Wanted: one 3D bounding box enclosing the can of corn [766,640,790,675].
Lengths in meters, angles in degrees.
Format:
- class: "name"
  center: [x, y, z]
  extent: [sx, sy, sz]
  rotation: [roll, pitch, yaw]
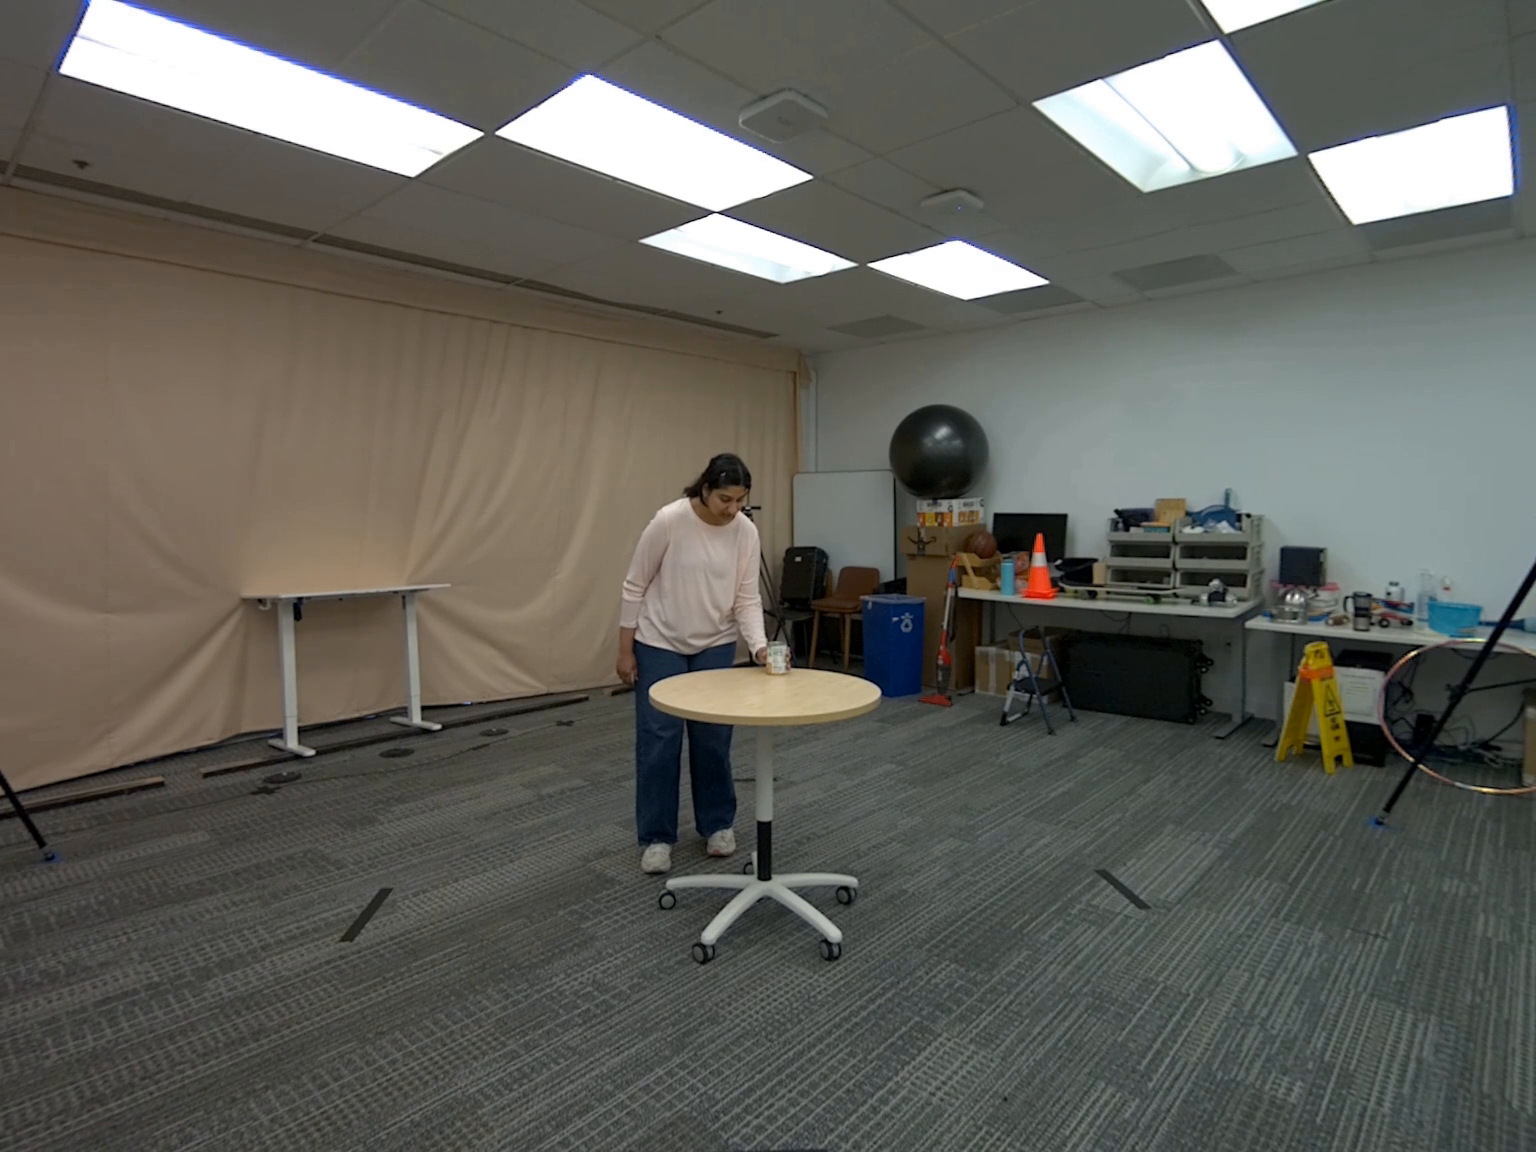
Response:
- class: "can of corn"
  center: [0.034, 0.298, 3.055]
  extent: [0.074, 0.111, 0.074]
  rotation: [-2, 3, -2]
